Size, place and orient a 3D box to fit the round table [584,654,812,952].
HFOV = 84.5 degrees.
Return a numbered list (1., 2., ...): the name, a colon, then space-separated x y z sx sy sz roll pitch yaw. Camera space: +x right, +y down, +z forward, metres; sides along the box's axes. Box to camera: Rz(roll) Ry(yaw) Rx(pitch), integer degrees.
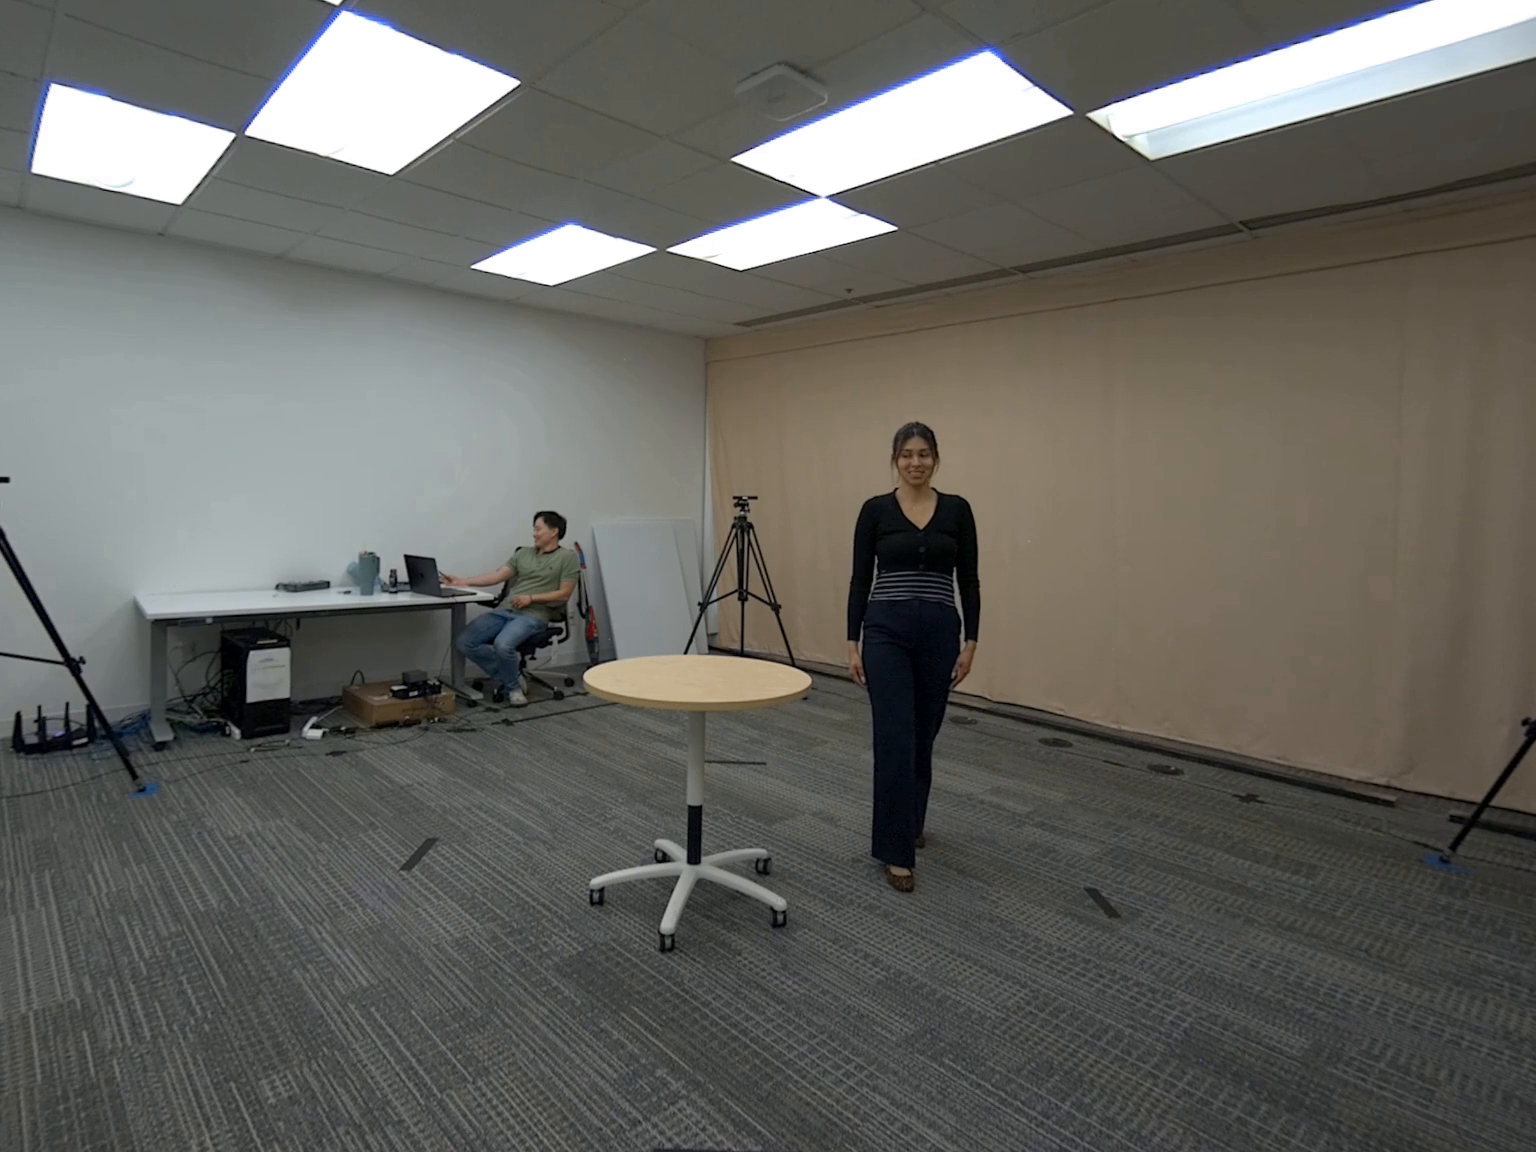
1. round table: -0.251 0.733 2.863 0.763 0.792 0.766 1 4 -1
